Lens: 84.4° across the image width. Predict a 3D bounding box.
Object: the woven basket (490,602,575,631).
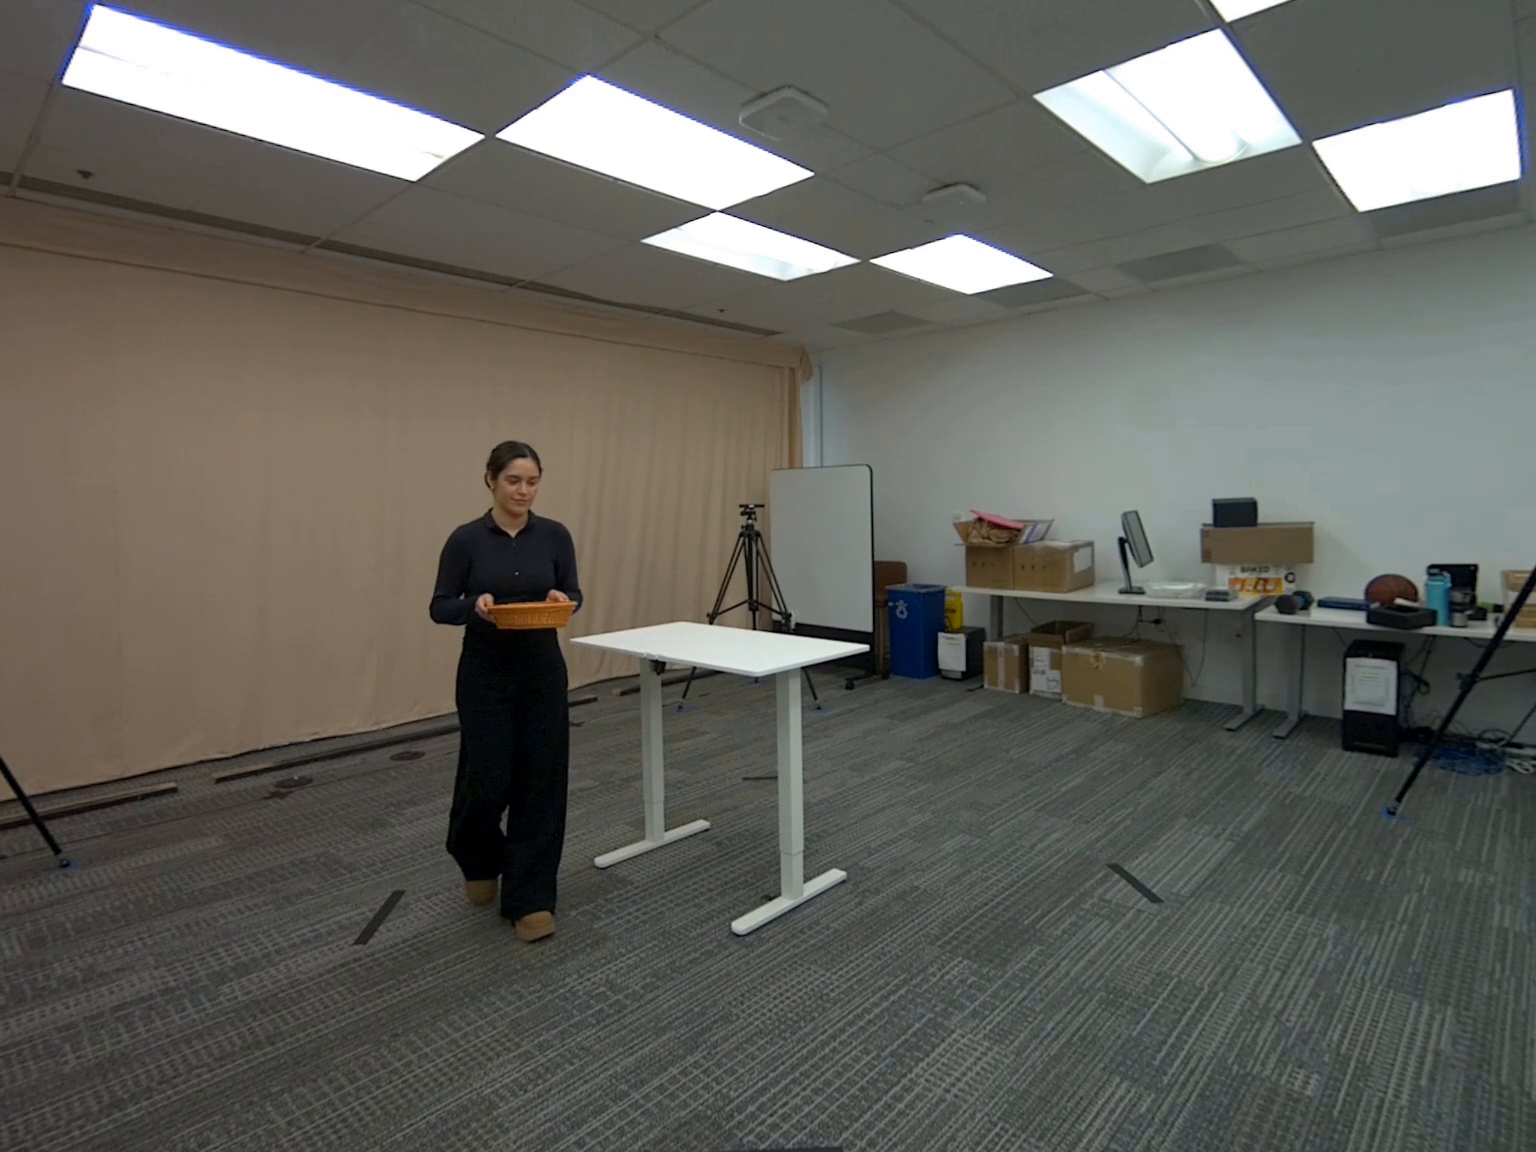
[{"bbox_3d":[-0.736,0.122,2.574,0.247,0.073,0.358,0,2,-20],"label":"woven basket"}]
